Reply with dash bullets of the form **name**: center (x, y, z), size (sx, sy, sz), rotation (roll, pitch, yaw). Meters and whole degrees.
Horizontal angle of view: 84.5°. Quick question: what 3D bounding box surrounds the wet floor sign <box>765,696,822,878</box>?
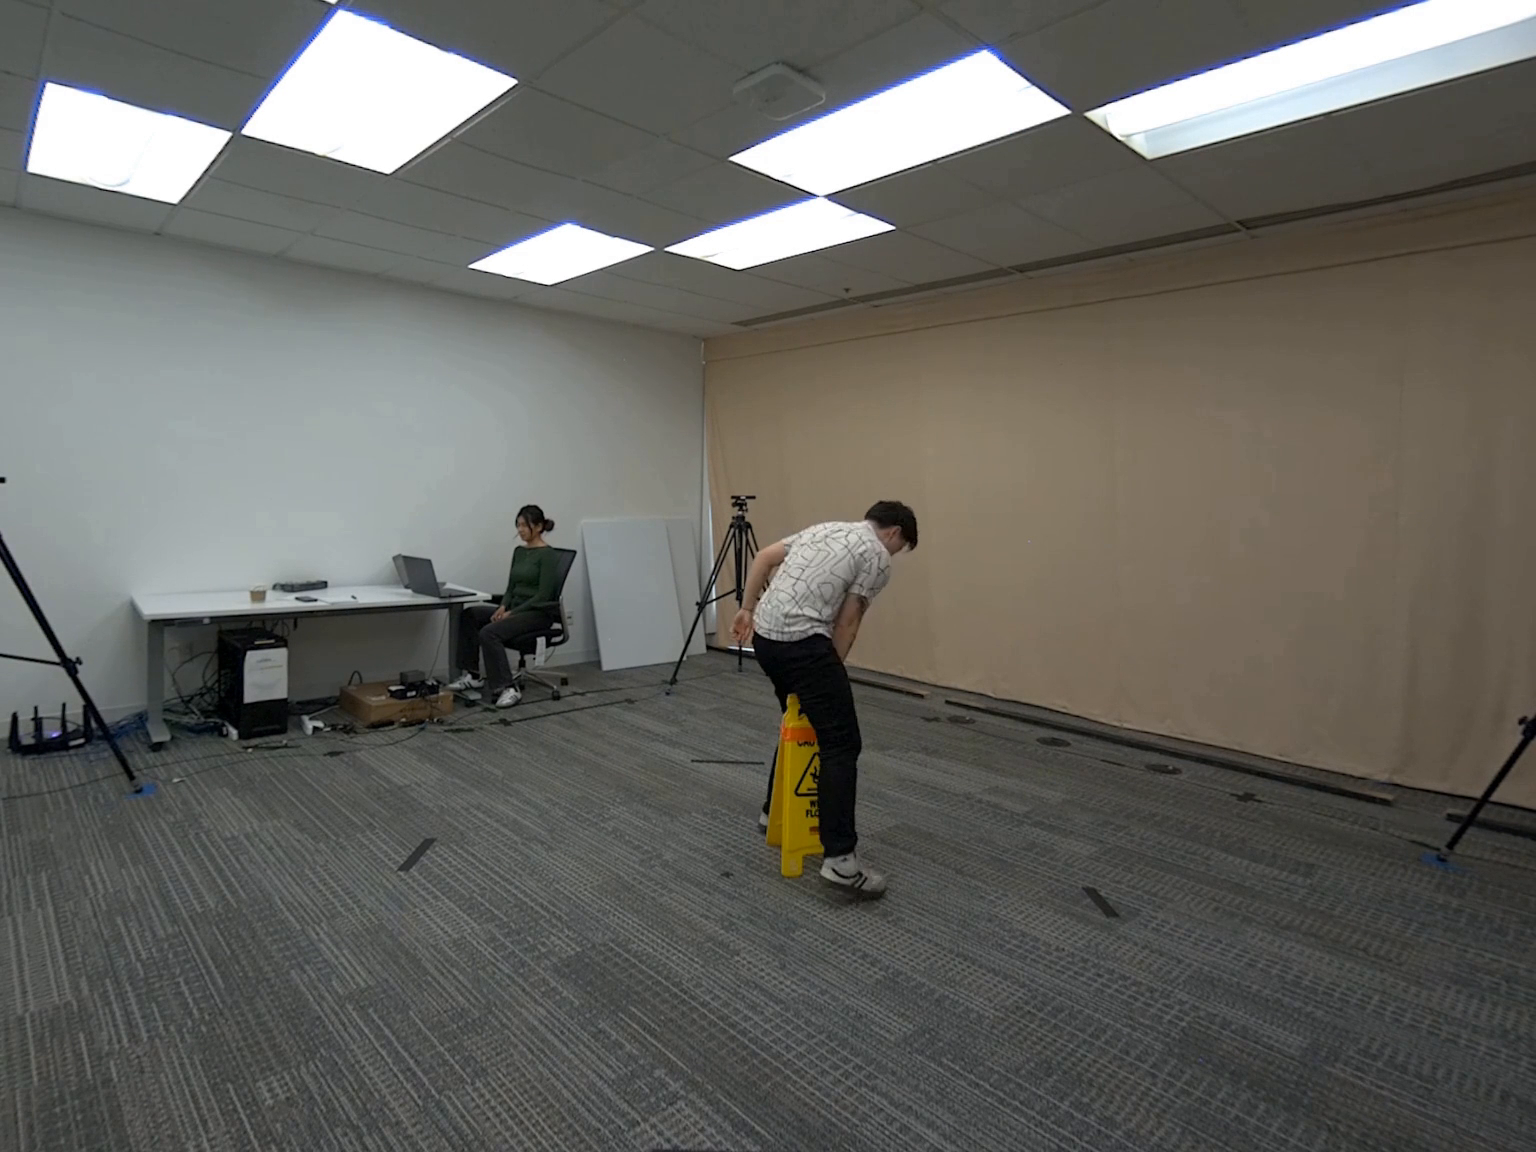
- **wet floor sign**: center (0.155, 0.769, 3.247), size (0.280, 0.645, 0.293), rotation (2, 3, -11)
